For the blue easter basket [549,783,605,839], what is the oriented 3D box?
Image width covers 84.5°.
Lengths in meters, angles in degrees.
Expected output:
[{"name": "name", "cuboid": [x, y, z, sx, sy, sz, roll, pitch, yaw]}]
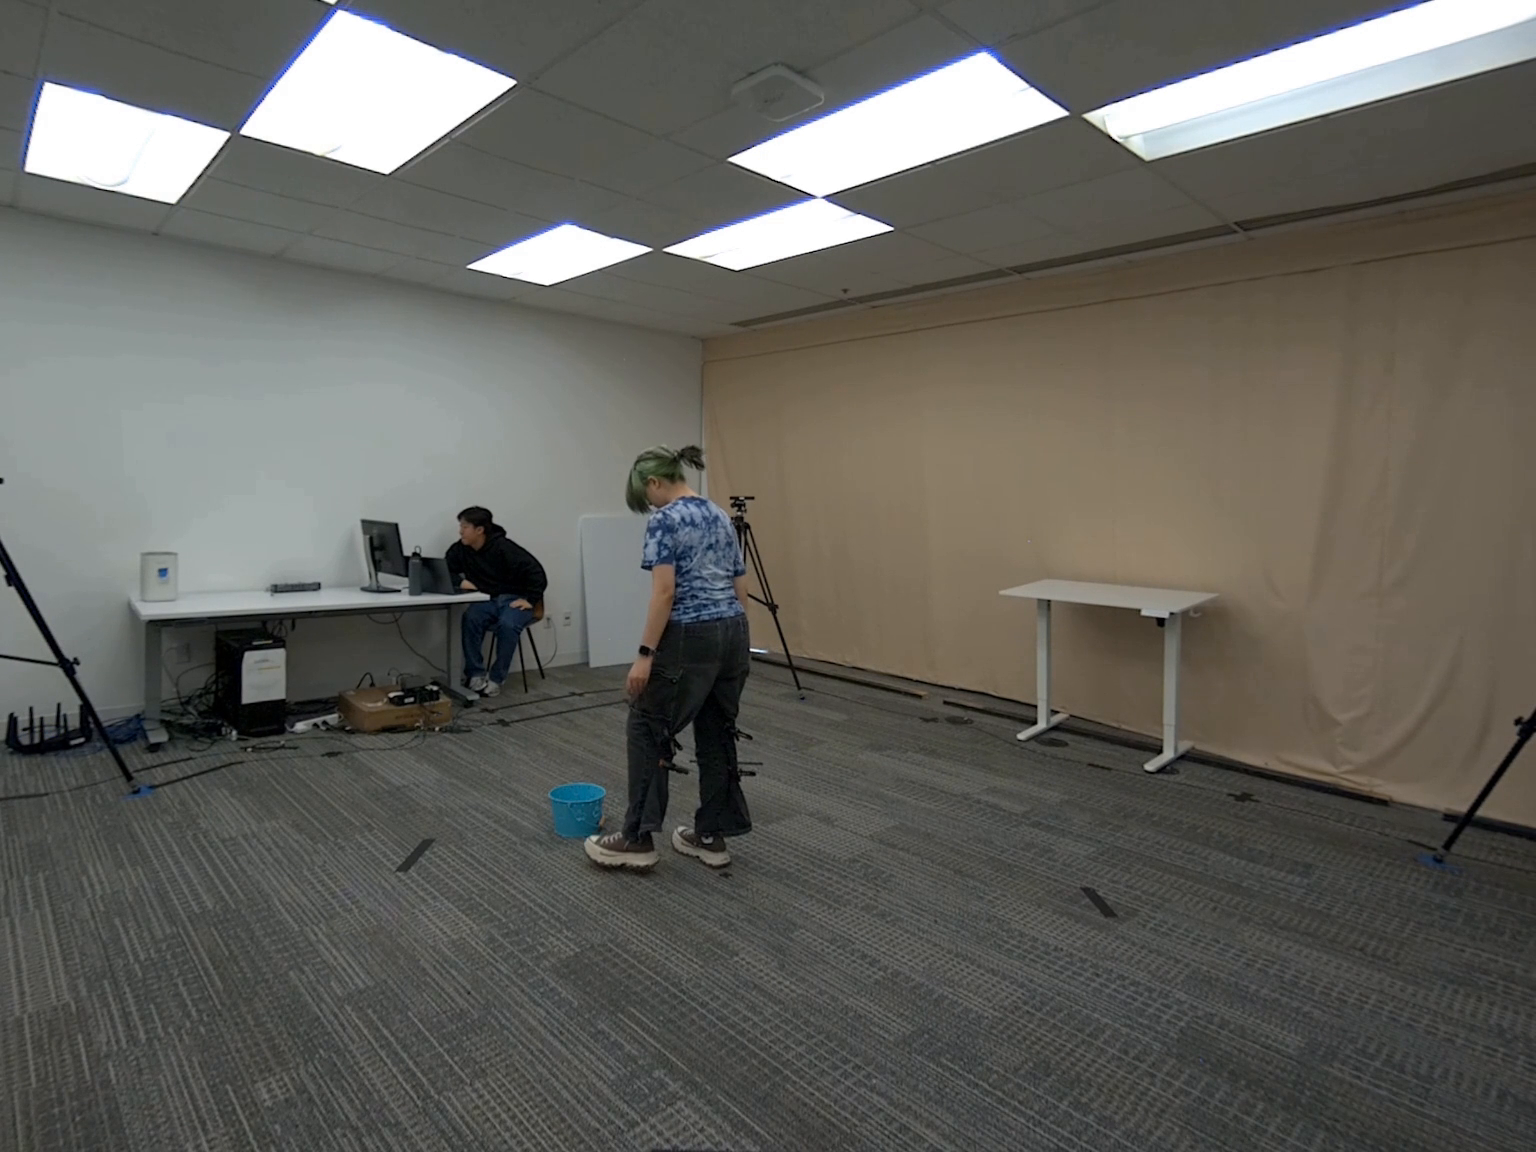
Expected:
[{"name": "blue easter basket", "cuboid": [-0.802, 0.975, 3.497, 0.243, 0.155, 0.244, 2, 5, -2]}]
